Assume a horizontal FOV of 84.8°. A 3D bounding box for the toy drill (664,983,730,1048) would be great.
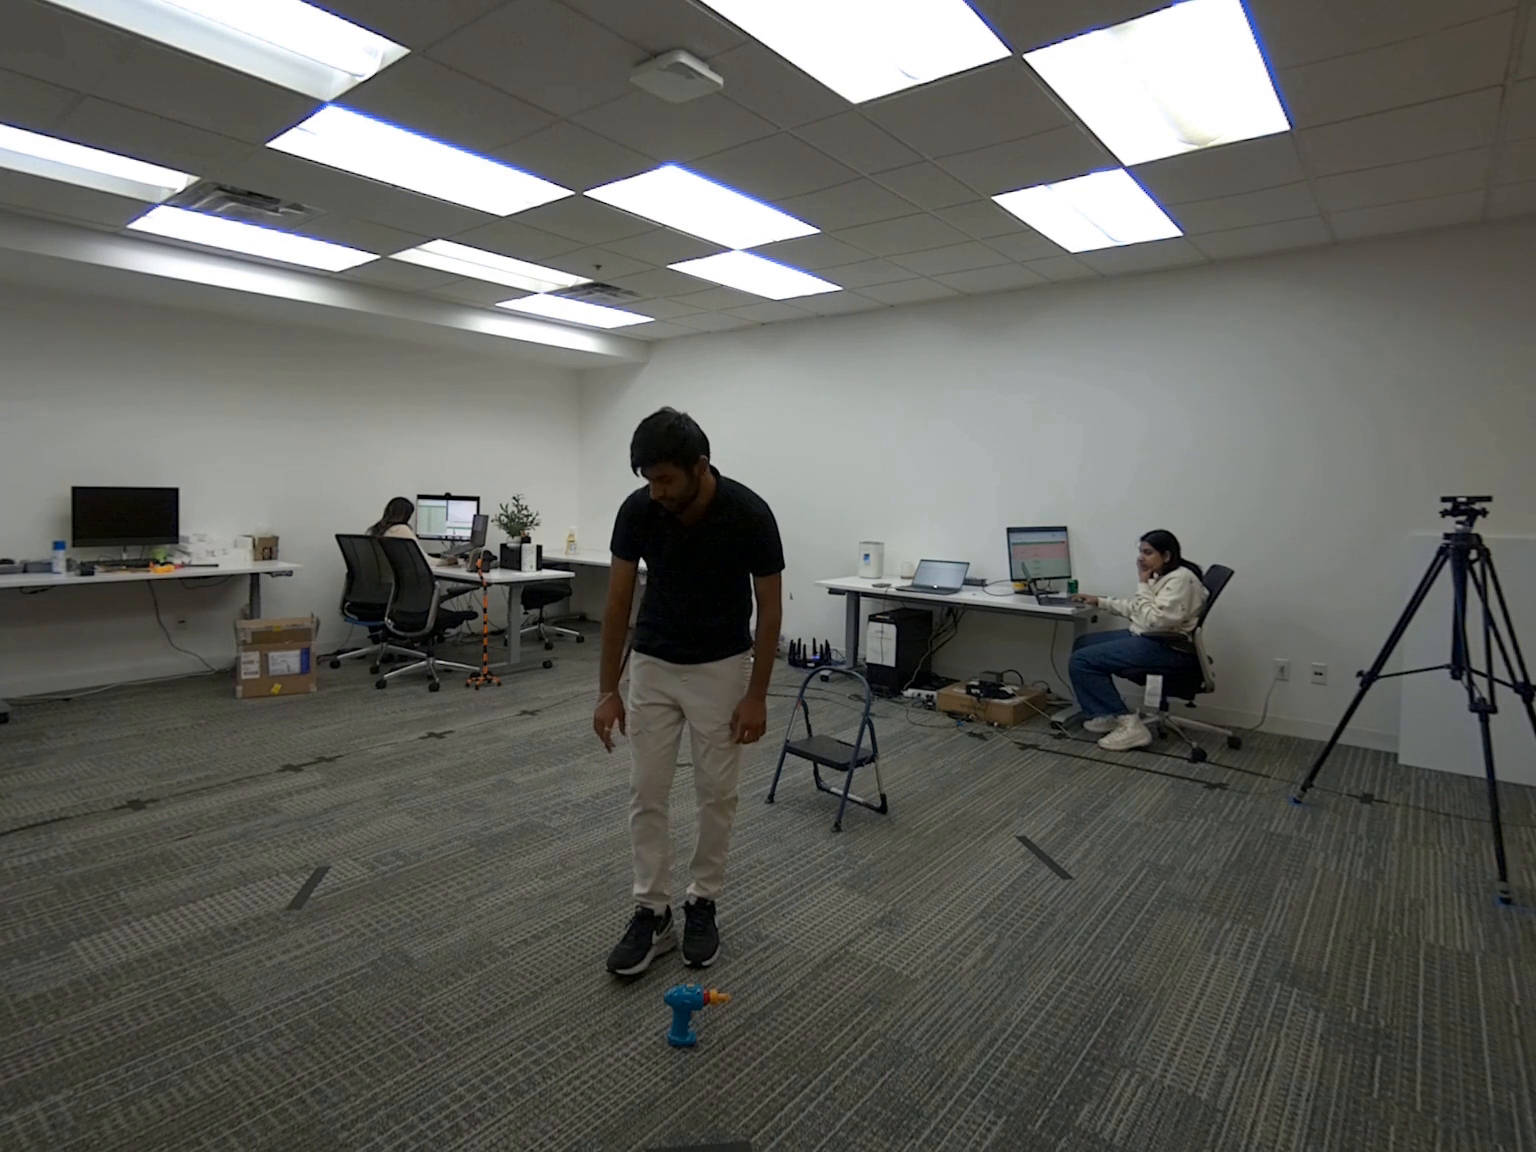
[{"bbox_3d":[-0.184,1.095,2.127,0.169,0.145,0.061,0,3,-2],"label":"toy drill"}]
